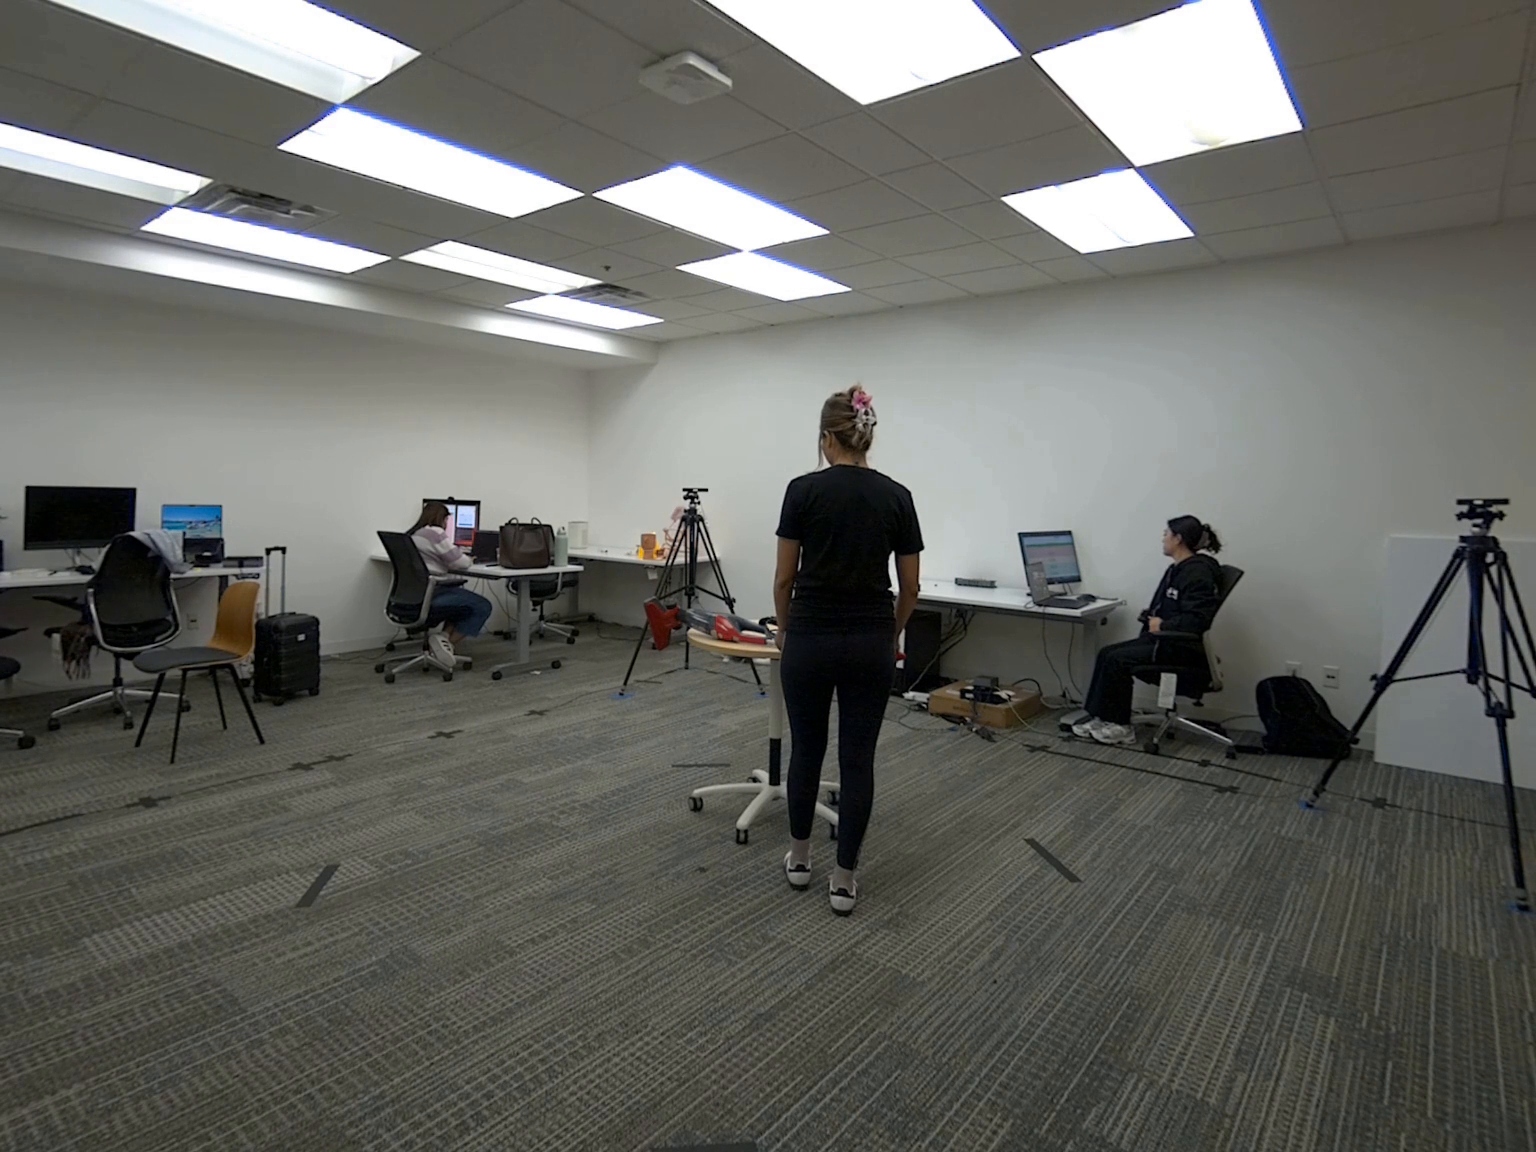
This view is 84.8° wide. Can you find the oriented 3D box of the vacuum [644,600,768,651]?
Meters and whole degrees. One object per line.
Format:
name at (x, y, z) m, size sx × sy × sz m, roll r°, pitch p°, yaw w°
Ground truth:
vacuum at (-0.009, 0.241, 3.338) m, size 1.081 × 0.245 × 0.144 m, roll 6°, pitch 35°, yaw 30°
